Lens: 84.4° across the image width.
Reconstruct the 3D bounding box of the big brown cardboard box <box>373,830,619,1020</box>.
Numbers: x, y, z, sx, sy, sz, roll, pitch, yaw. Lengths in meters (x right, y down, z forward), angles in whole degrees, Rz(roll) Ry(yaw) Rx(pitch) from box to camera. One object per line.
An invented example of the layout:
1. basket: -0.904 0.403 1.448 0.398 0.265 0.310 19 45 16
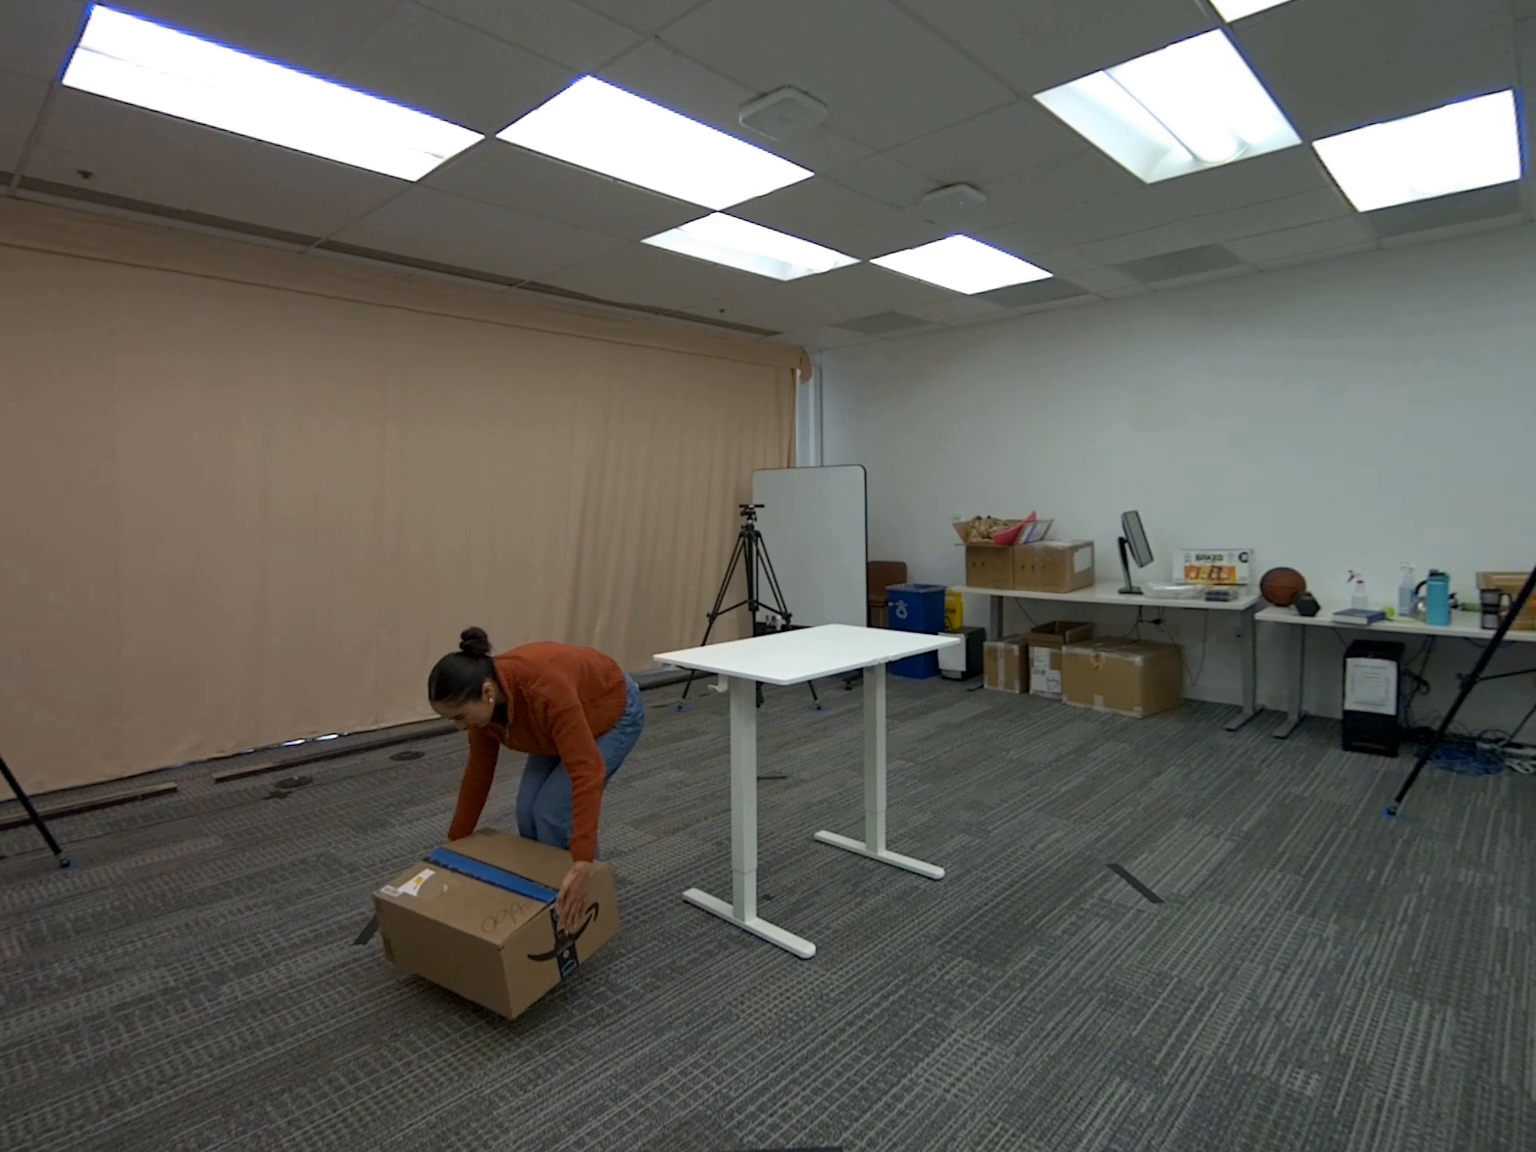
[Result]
1. big brown cardboard box: -0.798 0.974 2.452 0.607 0.231 0.408 2 14 33
